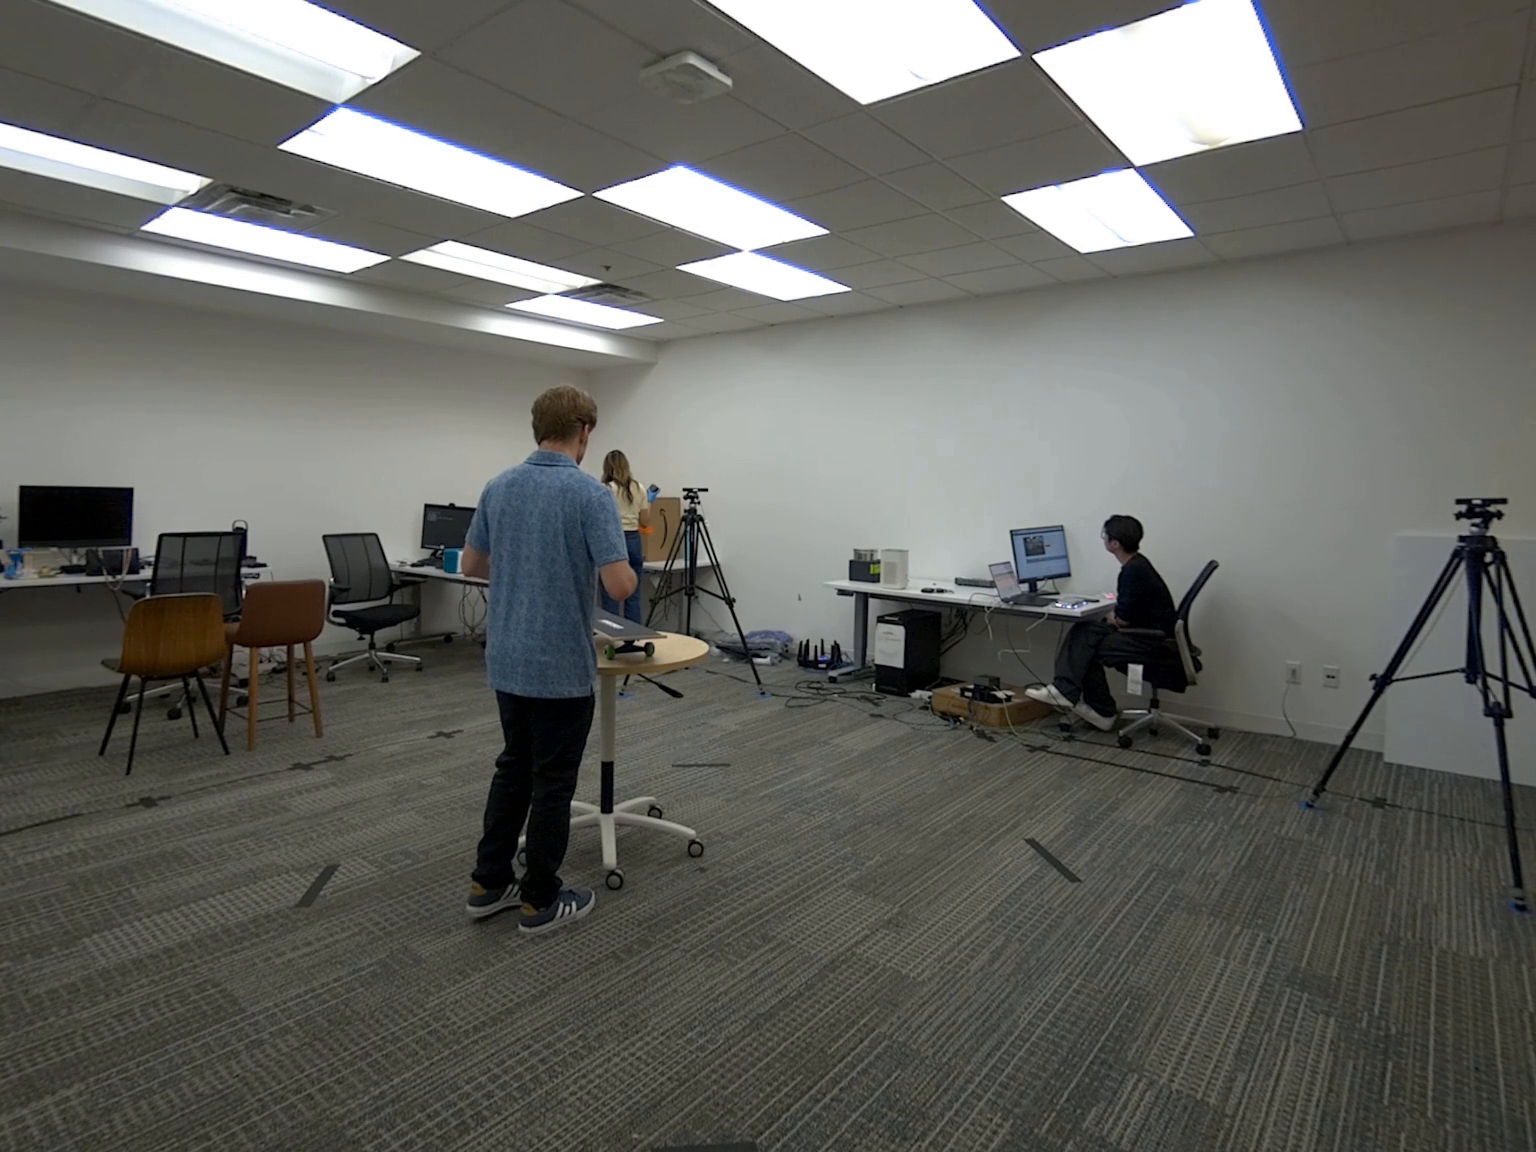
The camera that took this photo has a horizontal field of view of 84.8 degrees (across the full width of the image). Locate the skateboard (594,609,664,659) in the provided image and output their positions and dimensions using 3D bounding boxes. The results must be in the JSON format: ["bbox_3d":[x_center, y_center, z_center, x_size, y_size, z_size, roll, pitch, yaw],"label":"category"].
[{"bbox_3d":[-0.606,0.216,3.209,0.189,0.110,0.809,-4,7,-28],"label":"skateboard"}]
